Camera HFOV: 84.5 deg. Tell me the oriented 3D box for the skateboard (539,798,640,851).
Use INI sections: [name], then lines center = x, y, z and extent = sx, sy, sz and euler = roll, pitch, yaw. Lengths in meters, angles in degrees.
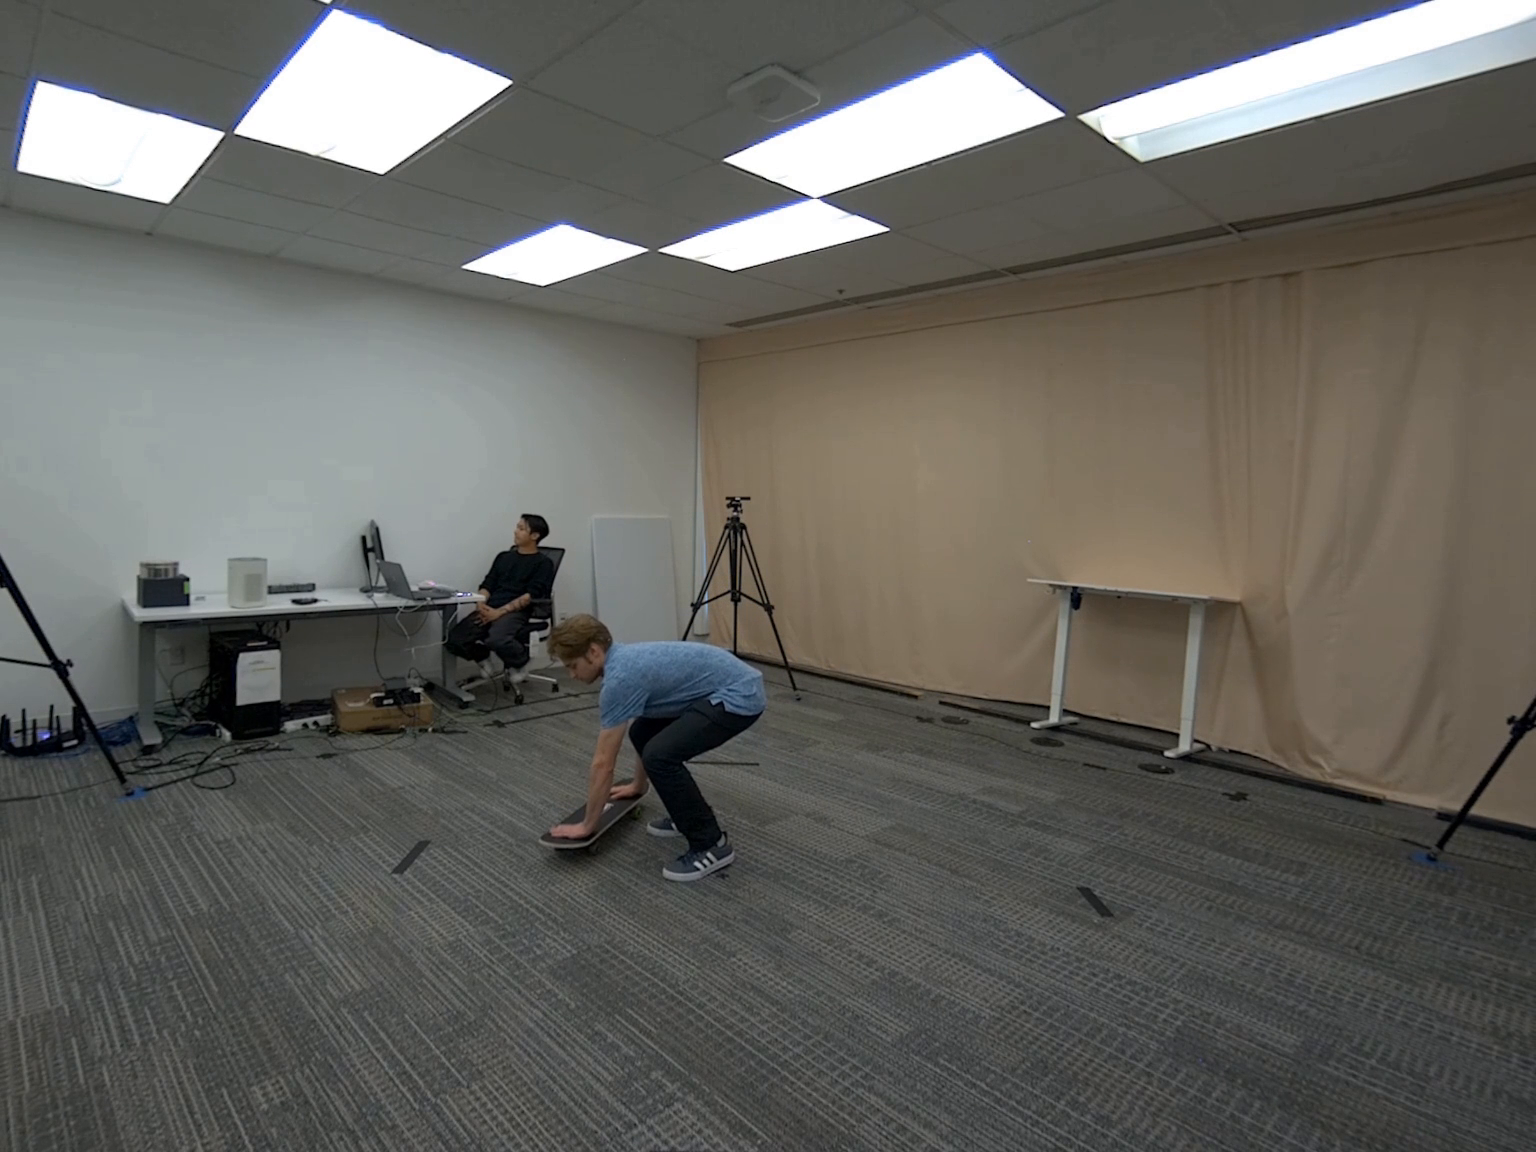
[skateboard]
center = -0.701, 1.003, 3.466
extent = 0.196, 0.110, 0.777
euler = 1, 5, 15
